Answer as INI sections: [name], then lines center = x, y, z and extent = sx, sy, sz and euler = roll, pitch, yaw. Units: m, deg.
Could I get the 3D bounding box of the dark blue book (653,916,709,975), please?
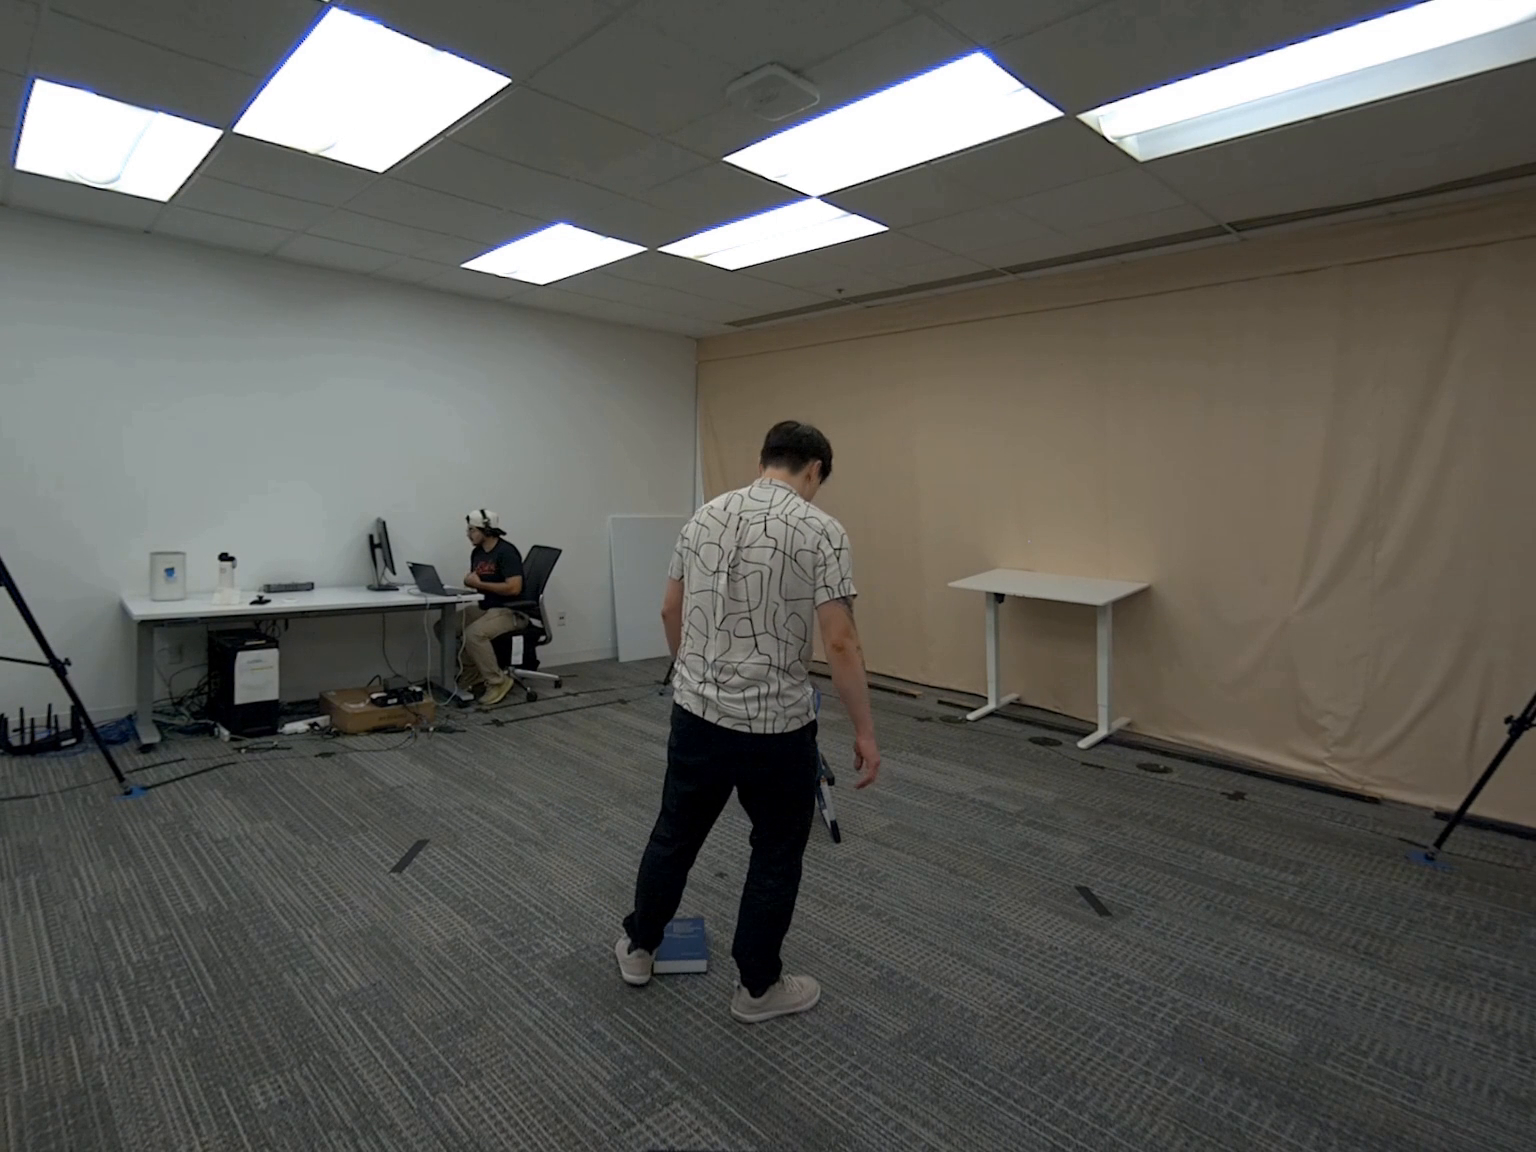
[dark blue book]
center = -0.271, 1.127, 2.569
extent = 0.162, 0.045, 0.247
euler = 1, 5, -7
